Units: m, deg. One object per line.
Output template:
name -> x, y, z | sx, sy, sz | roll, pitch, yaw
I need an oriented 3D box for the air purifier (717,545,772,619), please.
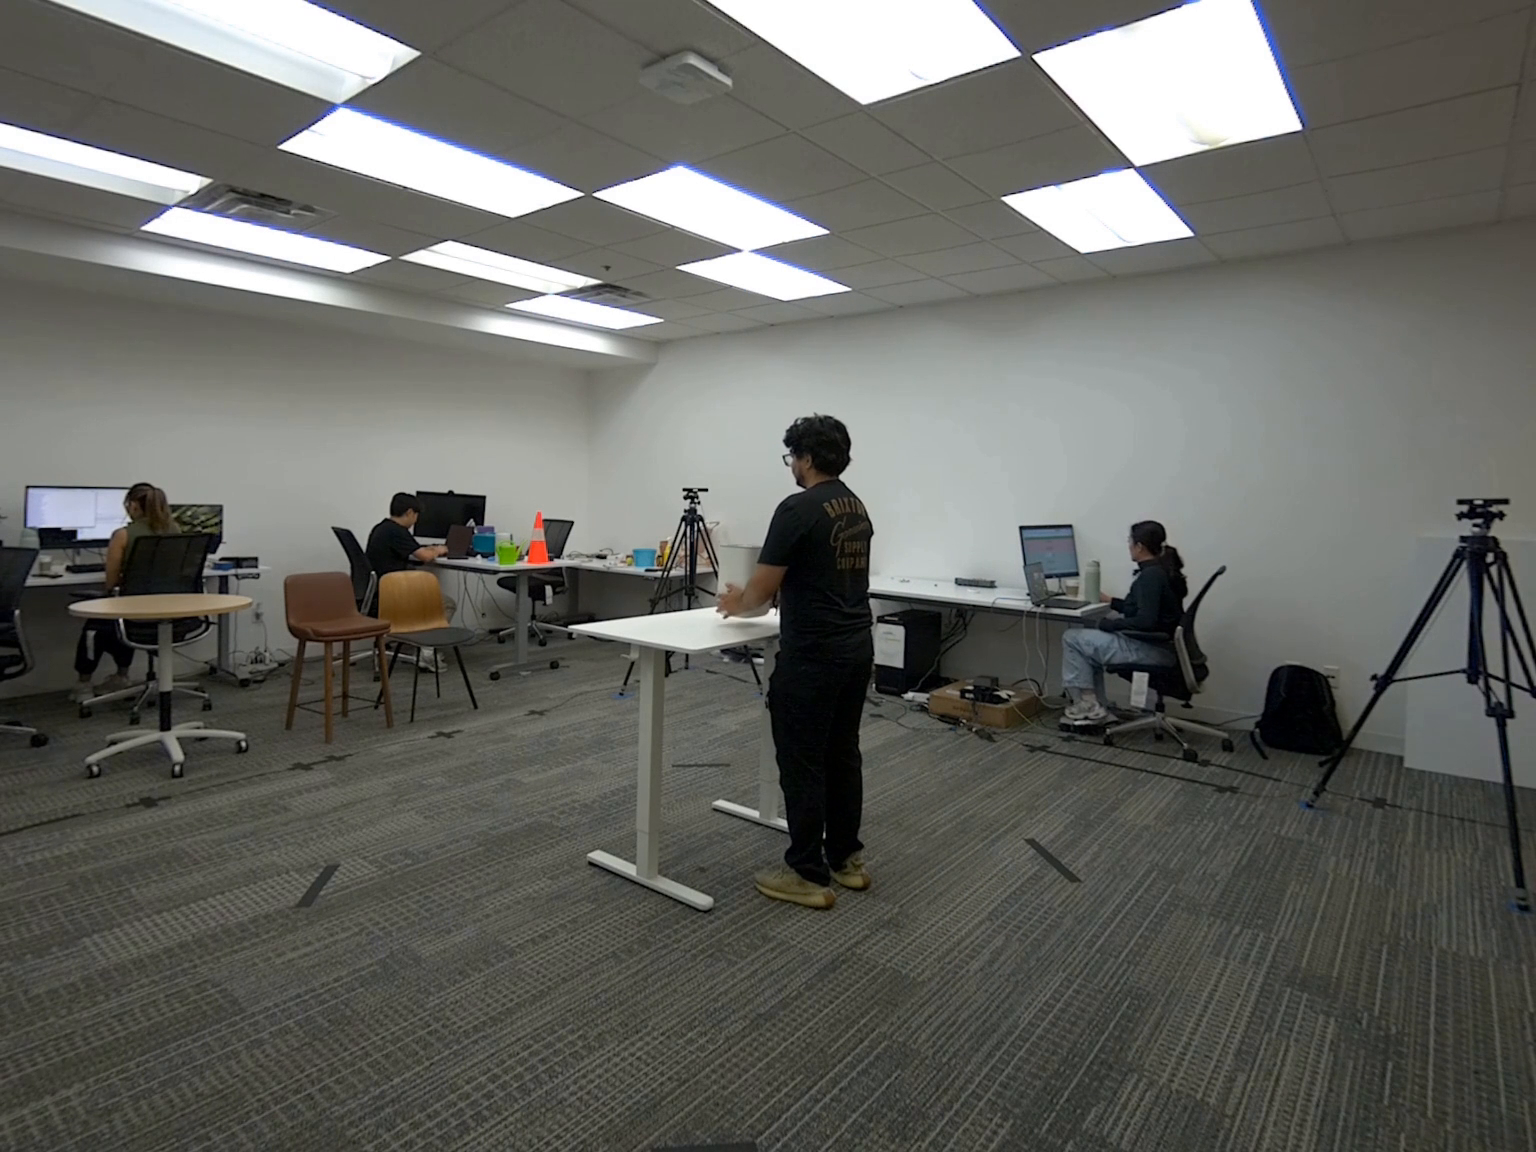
air purifier -> -0.106, 0.011, 3.199 | 0.177, 0.265, 0.166 | 5, 4, 38
